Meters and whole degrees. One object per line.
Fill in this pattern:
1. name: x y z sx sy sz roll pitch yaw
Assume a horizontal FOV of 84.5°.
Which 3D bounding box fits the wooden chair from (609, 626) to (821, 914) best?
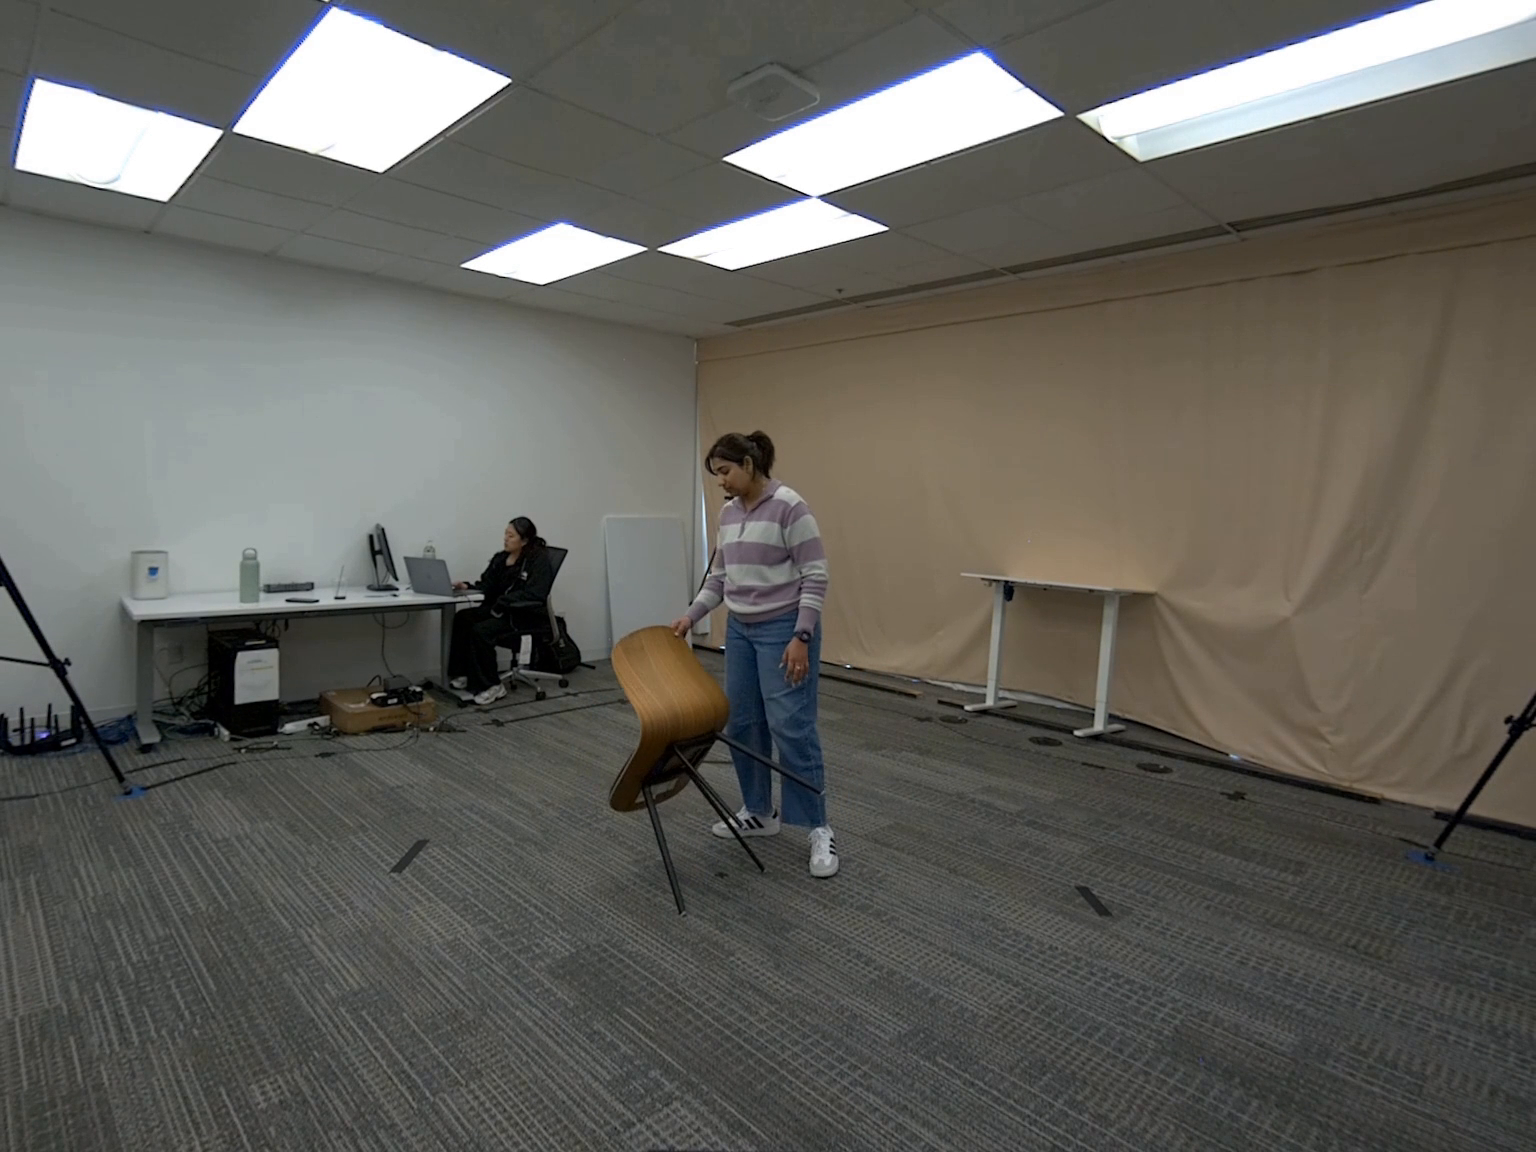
1. wooden chair: -0.325 0.677 3.085 0.468 0.521 0.901 -4 45 -50
